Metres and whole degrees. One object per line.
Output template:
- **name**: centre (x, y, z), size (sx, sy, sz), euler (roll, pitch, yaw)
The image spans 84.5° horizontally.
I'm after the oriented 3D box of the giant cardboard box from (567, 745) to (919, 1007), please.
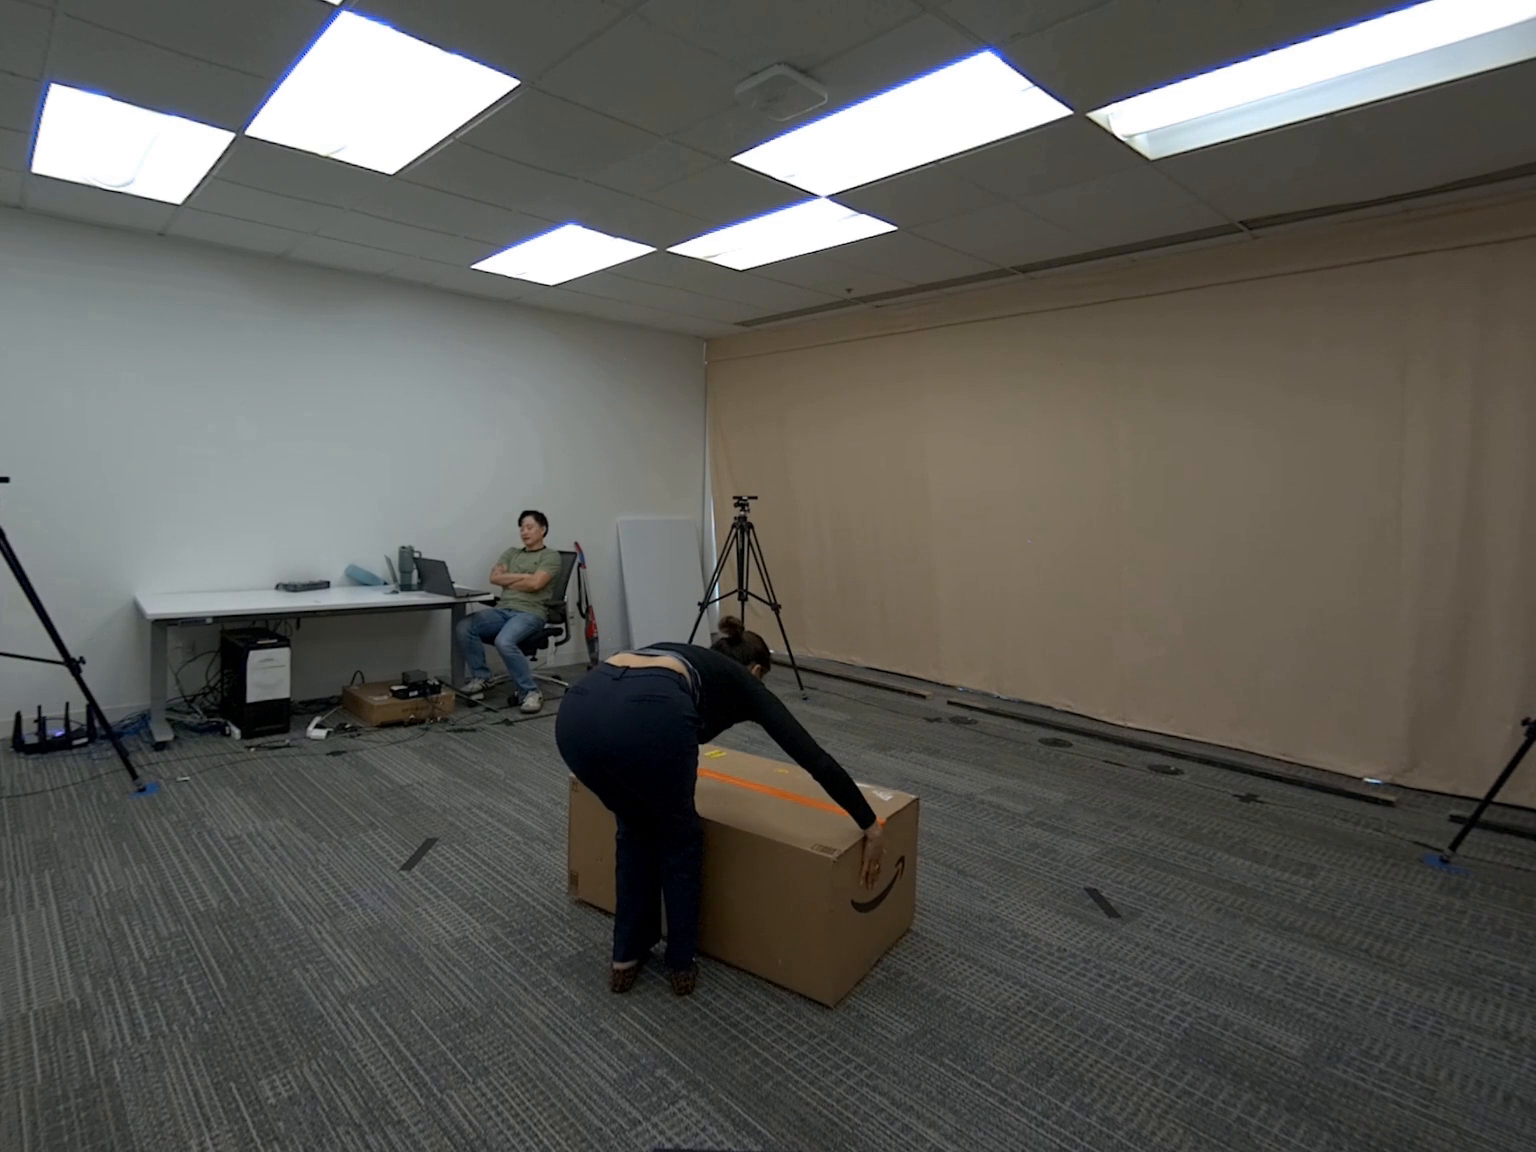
- **giant cardboard box**: centre (-0.100, 0.892, 2.796), size (1.050, 0.424, 0.566), euler (6, 7, 34)
